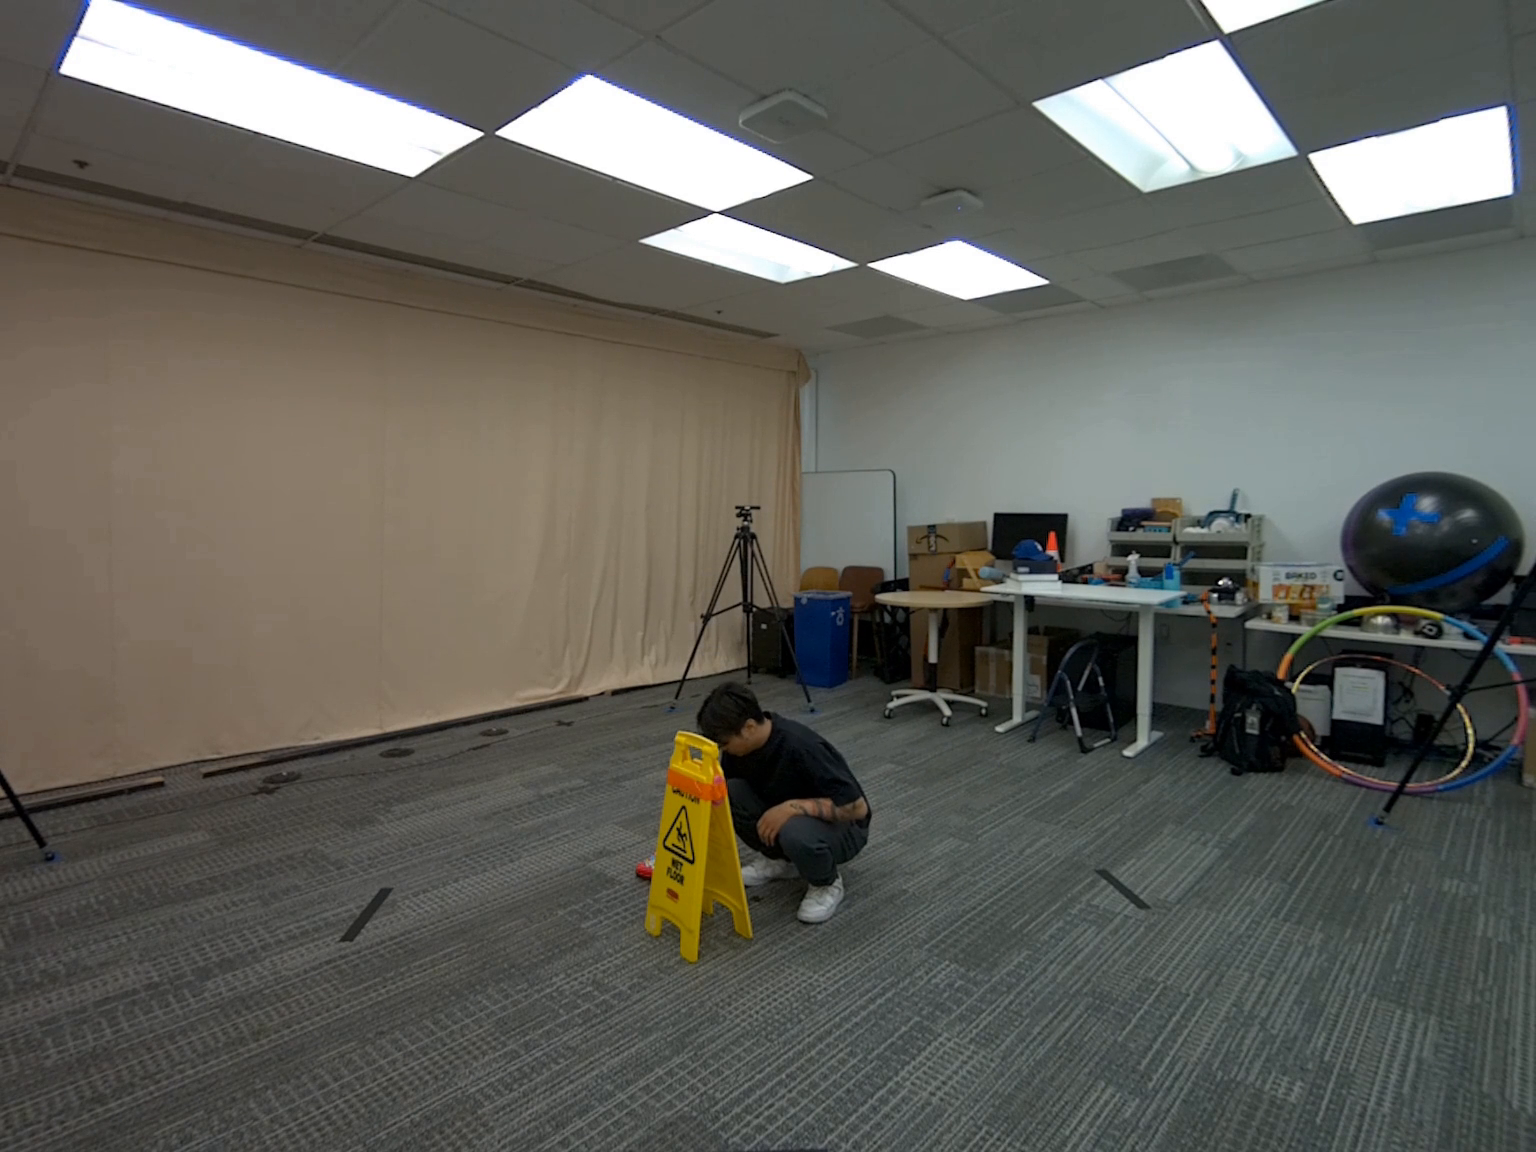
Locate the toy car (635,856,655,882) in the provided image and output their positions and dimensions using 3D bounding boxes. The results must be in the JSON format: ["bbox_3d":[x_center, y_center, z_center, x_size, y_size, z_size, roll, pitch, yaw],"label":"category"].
[{"bbox_3d":[-0.393,1.104,3.231,0.134,0.082,0.249,-1,13,31],"label":"toy car"}]
